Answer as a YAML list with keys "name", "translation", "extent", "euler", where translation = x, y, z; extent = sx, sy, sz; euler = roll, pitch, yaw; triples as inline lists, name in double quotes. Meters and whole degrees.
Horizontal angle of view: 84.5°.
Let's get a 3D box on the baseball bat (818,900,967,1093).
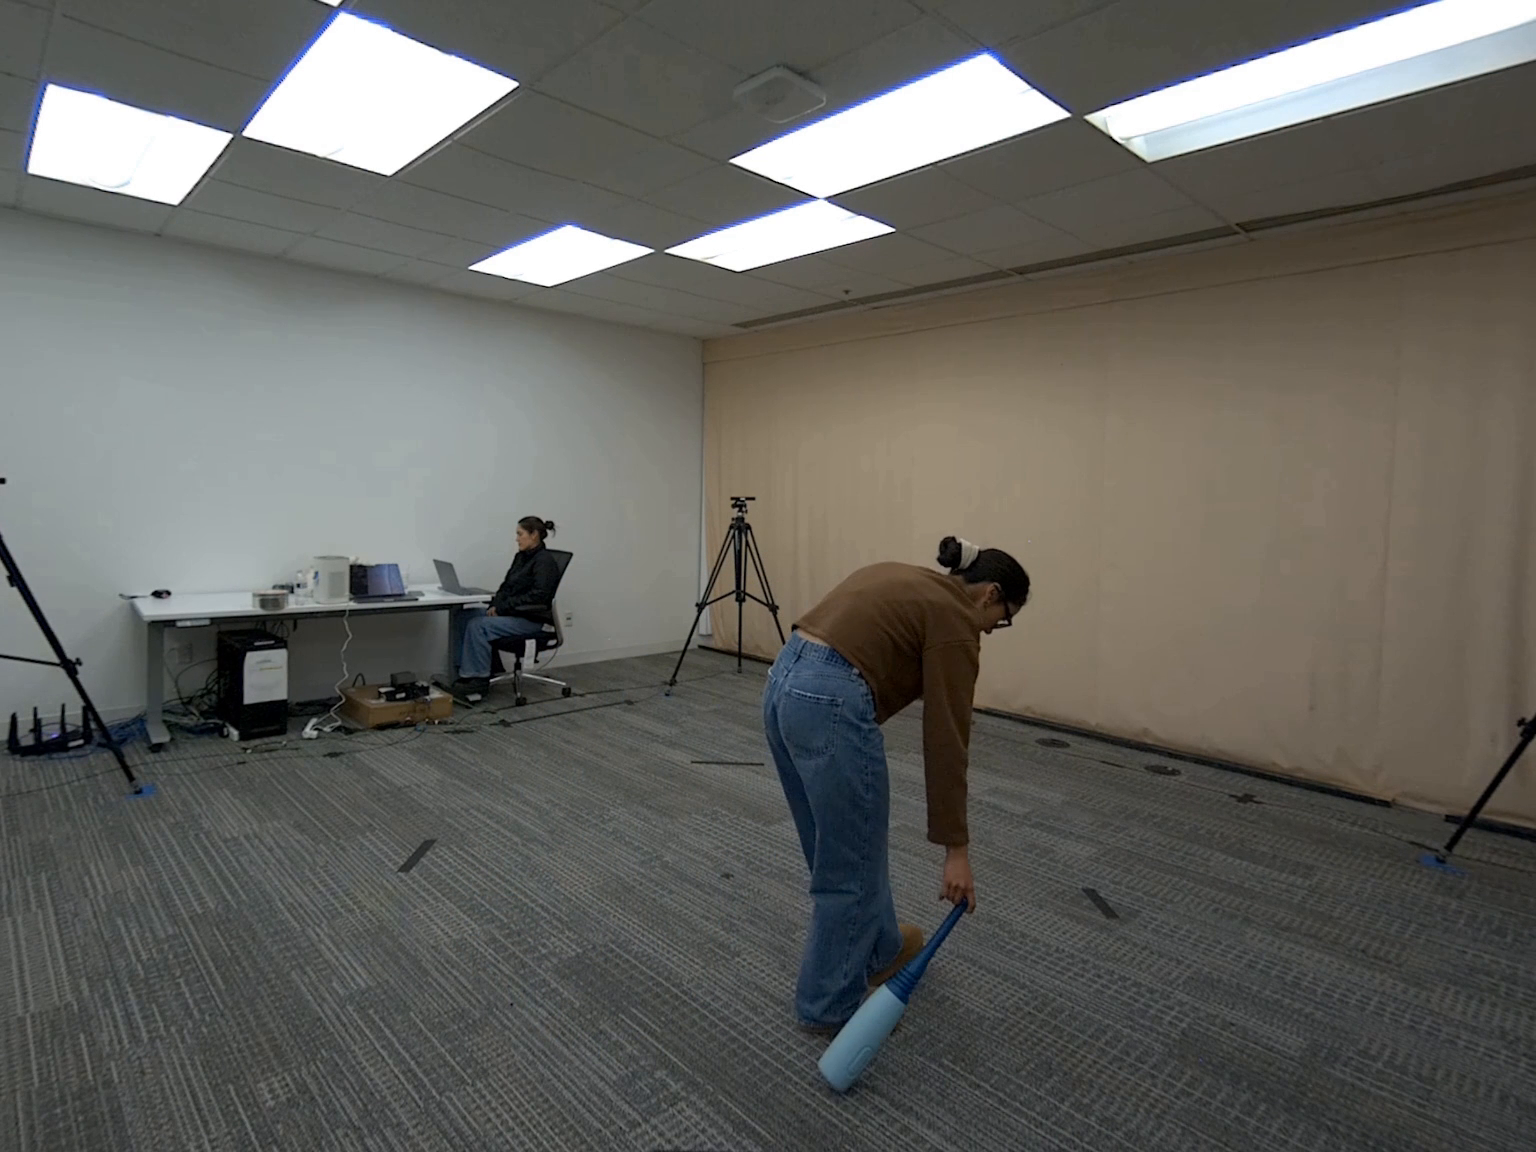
- name: "baseball bat"
  translation: [0.318, 1.002, 2.028]
  extent: [0.090, 0.543, 0.088]
  euler: [40, -8, 5]
